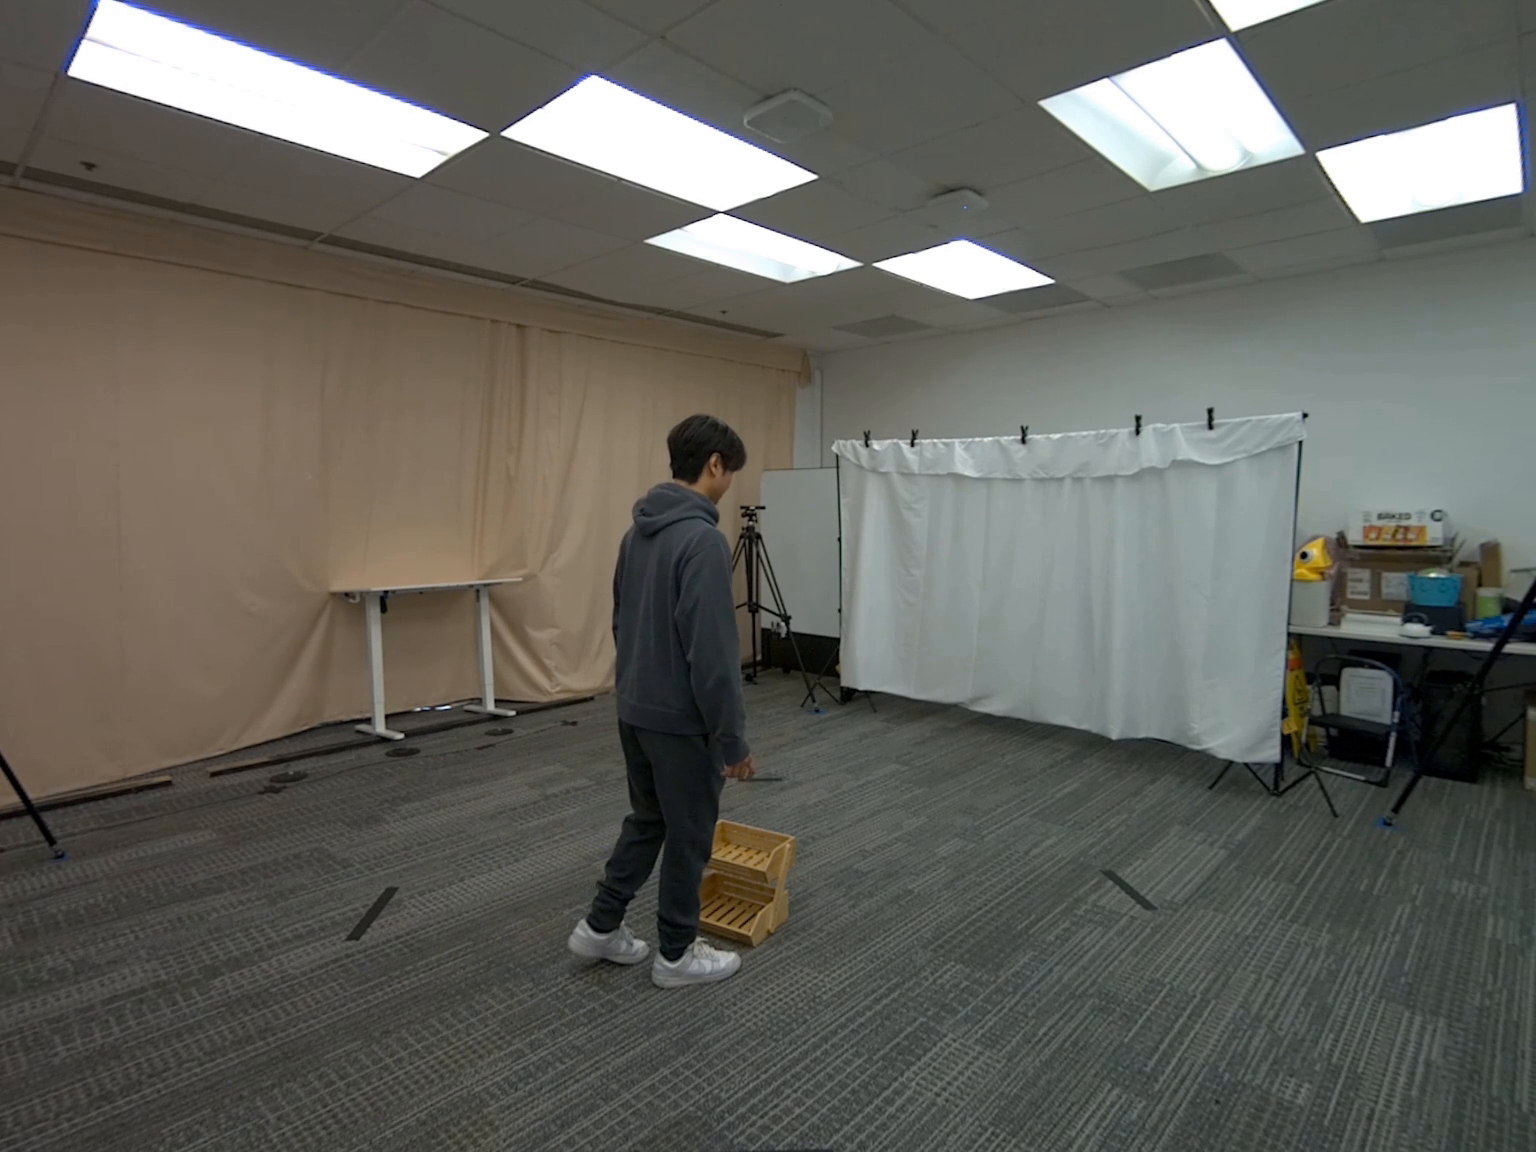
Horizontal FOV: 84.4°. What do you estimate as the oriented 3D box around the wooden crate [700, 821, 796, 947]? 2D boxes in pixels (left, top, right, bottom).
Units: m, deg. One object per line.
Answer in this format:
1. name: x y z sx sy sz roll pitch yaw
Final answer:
1. wooden crate: -0.106 1.024 2.840 0.334 0.273 0.294 2 4 31
